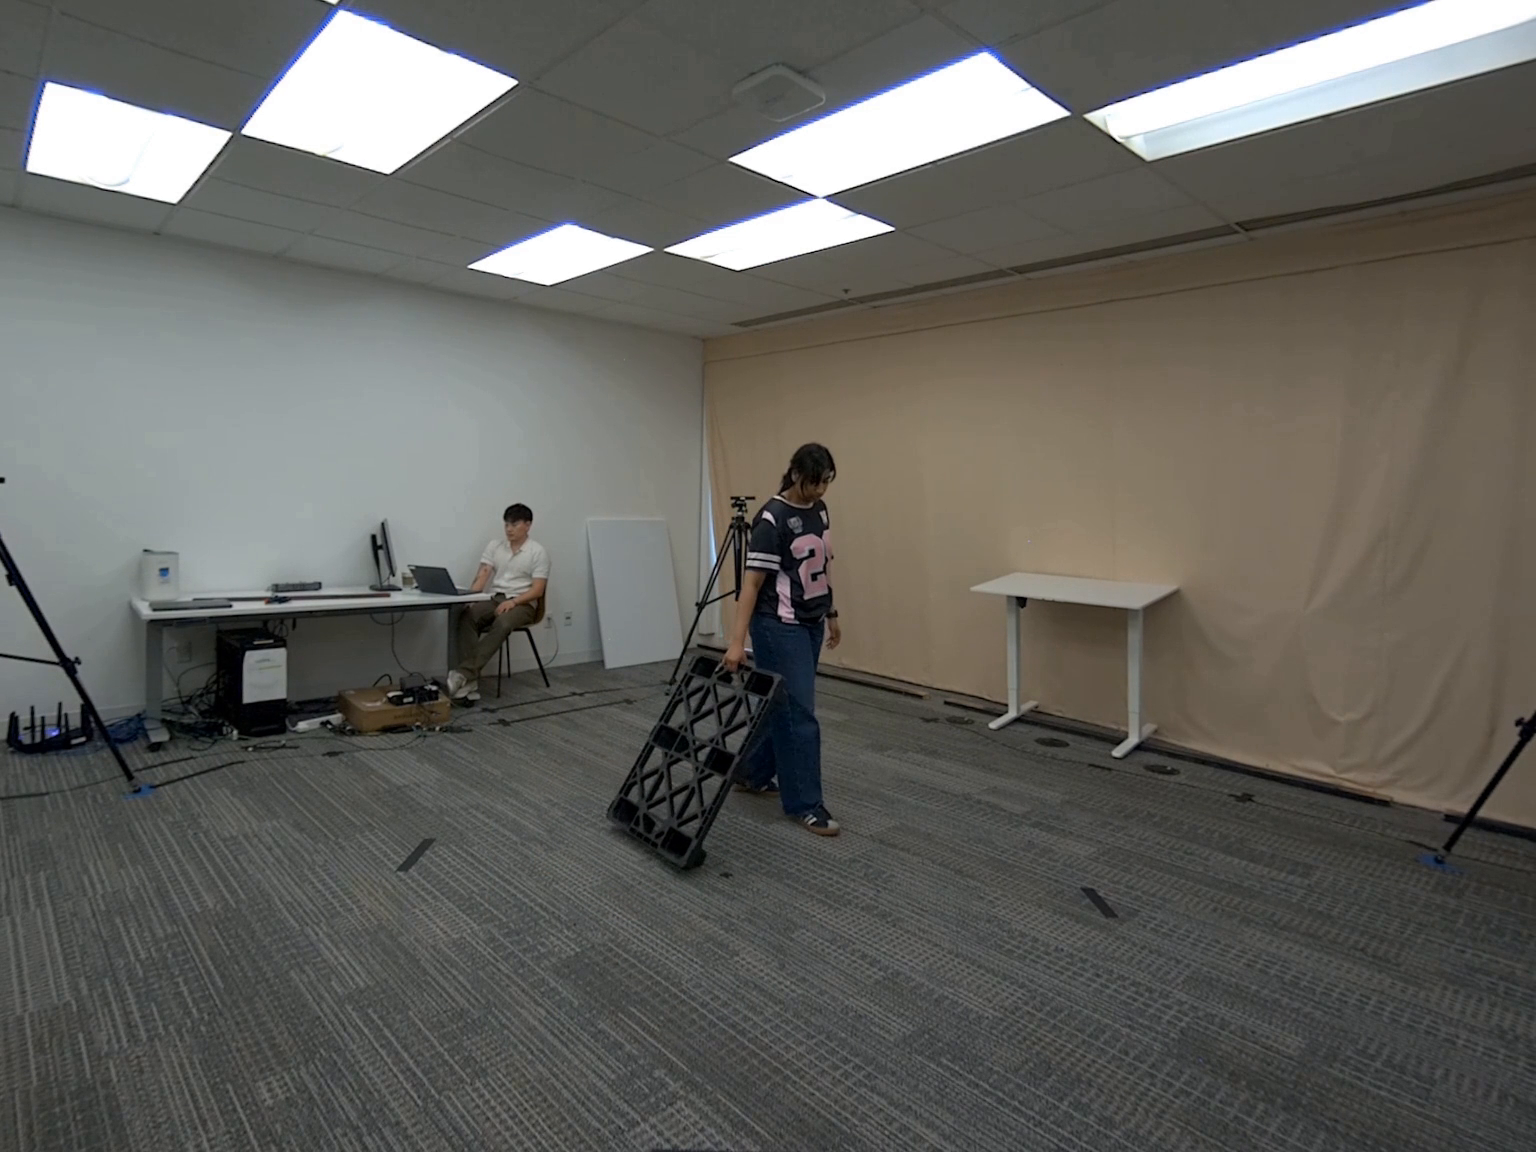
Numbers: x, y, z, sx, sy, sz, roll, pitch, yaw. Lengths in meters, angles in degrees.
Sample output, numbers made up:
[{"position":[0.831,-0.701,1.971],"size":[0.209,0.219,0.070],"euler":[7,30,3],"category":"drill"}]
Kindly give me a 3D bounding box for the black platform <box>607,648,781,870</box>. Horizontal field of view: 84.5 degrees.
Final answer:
[{"position":[-0.285,0.732,3.434],"size":[0.139,0.809,0.620],"euler":[39,-20,-33],"category":"black platform"}]
